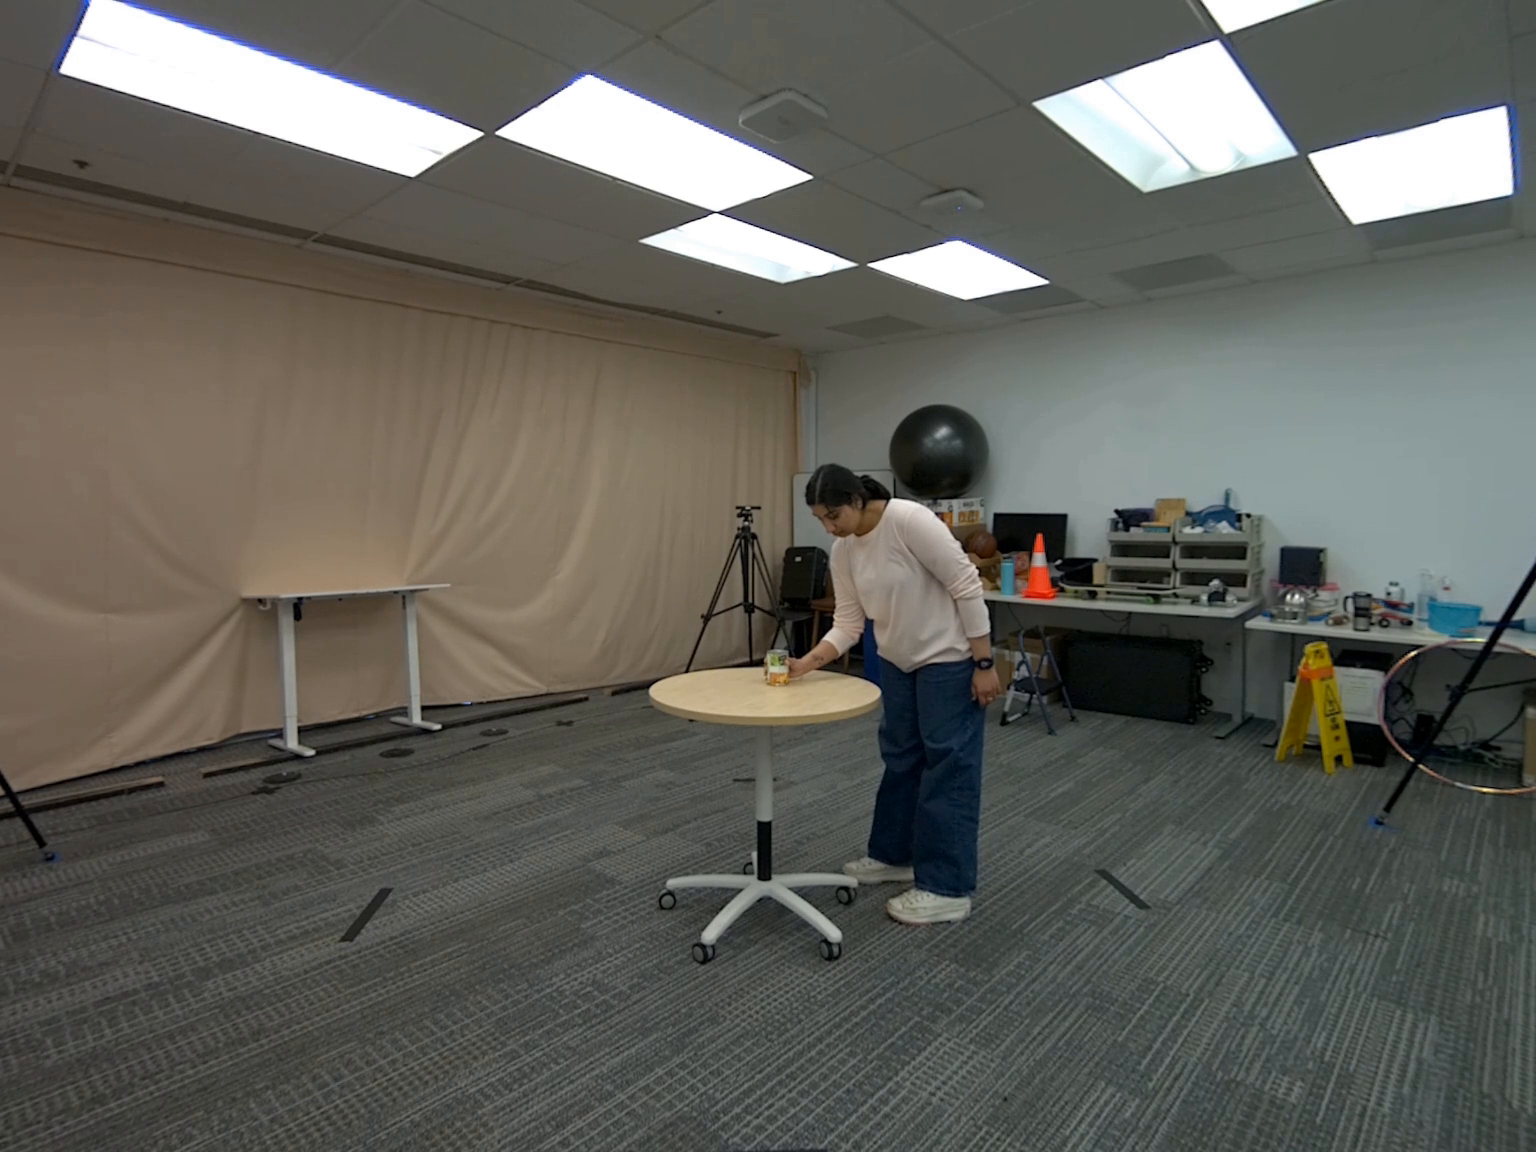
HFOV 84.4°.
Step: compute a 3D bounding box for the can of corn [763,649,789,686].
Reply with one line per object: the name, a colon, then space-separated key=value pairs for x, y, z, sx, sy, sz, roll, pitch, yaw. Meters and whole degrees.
can of corn: x=0.034 y=0.322 z=2.883 sx=0.074 sy=0.111 sz=0.074 roll=5 pitch=-7 yaw=-1
